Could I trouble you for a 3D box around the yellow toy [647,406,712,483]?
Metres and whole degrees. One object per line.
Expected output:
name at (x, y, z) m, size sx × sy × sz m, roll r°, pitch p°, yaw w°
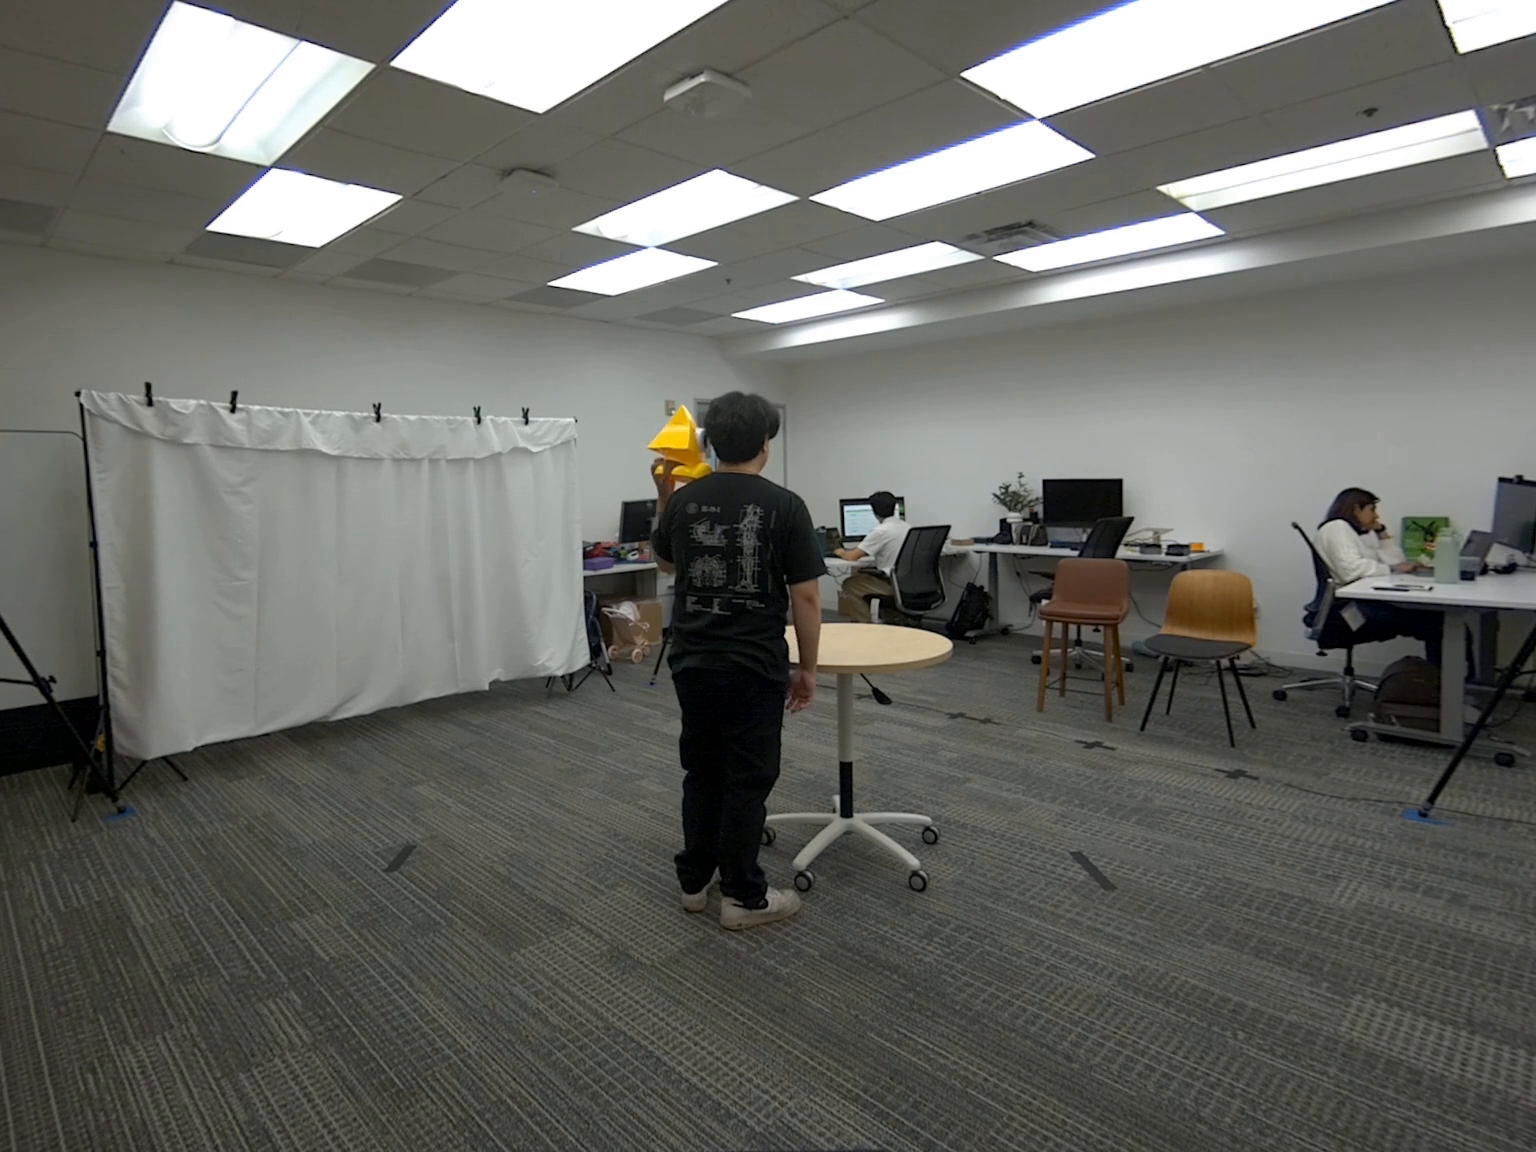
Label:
yellow toy at (-0.258, -0.429, 2.775) m, size 0.186 × 0.231 × 0.211 m, roll 13°, pitch -3°, yaw -44°
